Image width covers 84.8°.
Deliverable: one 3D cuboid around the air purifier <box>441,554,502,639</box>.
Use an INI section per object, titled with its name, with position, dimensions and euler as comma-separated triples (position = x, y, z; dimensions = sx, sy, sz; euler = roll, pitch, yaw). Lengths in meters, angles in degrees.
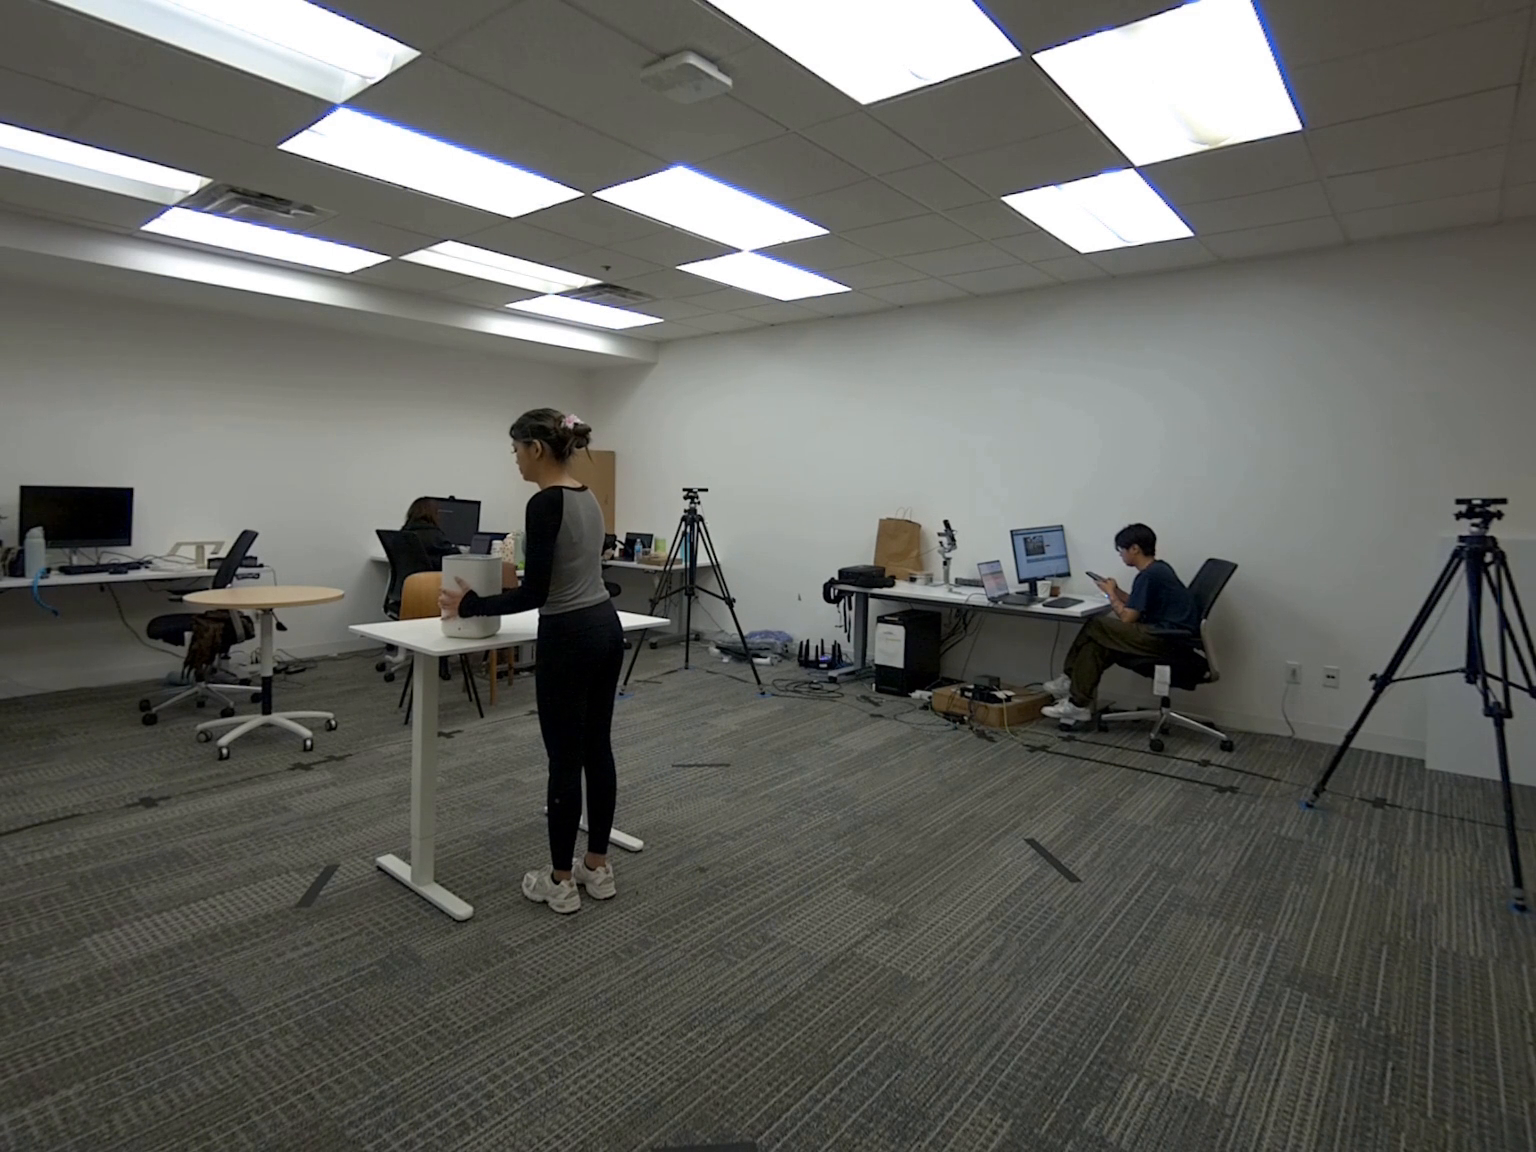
[air purifier]
position = -1.013, 0.068, 2.866
dimensions = 0.173, 0.264, 0.170
euler = 3, 3, 7
